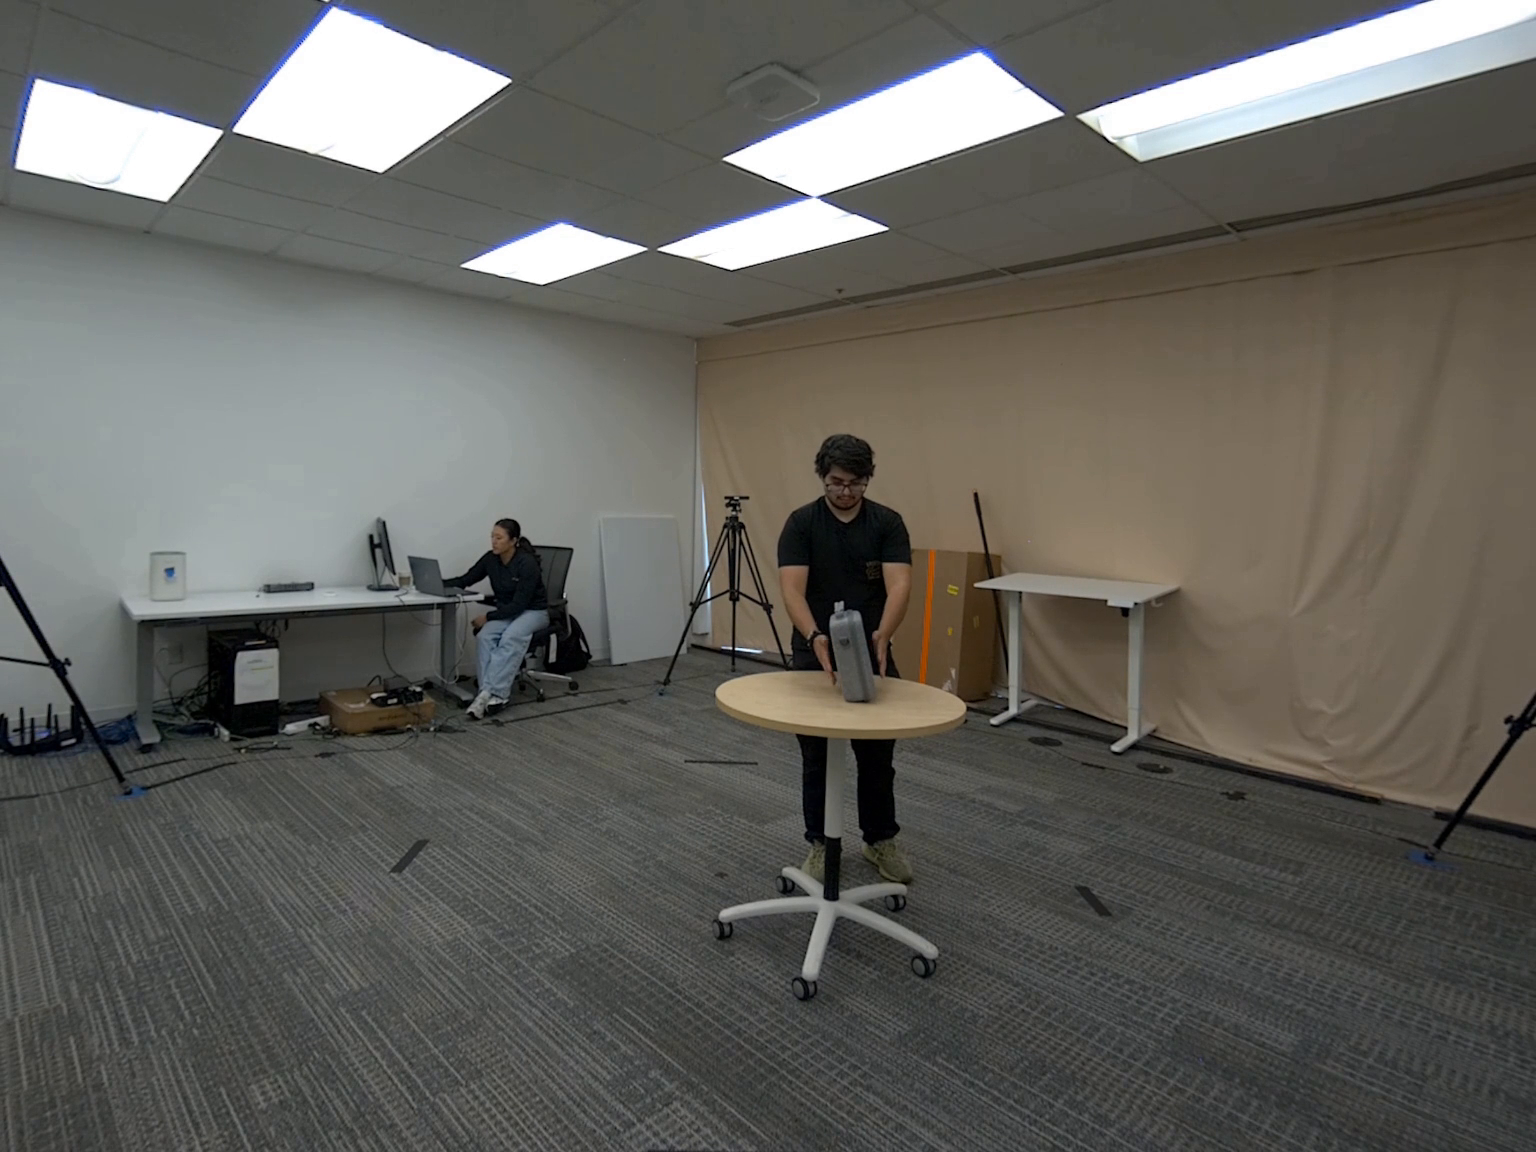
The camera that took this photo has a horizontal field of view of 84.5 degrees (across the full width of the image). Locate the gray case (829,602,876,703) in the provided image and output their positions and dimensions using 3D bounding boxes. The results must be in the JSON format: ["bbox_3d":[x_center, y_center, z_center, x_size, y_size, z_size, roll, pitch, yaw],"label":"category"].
[{"bbox_3d":[0.251,0.242,2.633,0.105,0.260,0.256,-7,1,6],"label":"gray case"}]
